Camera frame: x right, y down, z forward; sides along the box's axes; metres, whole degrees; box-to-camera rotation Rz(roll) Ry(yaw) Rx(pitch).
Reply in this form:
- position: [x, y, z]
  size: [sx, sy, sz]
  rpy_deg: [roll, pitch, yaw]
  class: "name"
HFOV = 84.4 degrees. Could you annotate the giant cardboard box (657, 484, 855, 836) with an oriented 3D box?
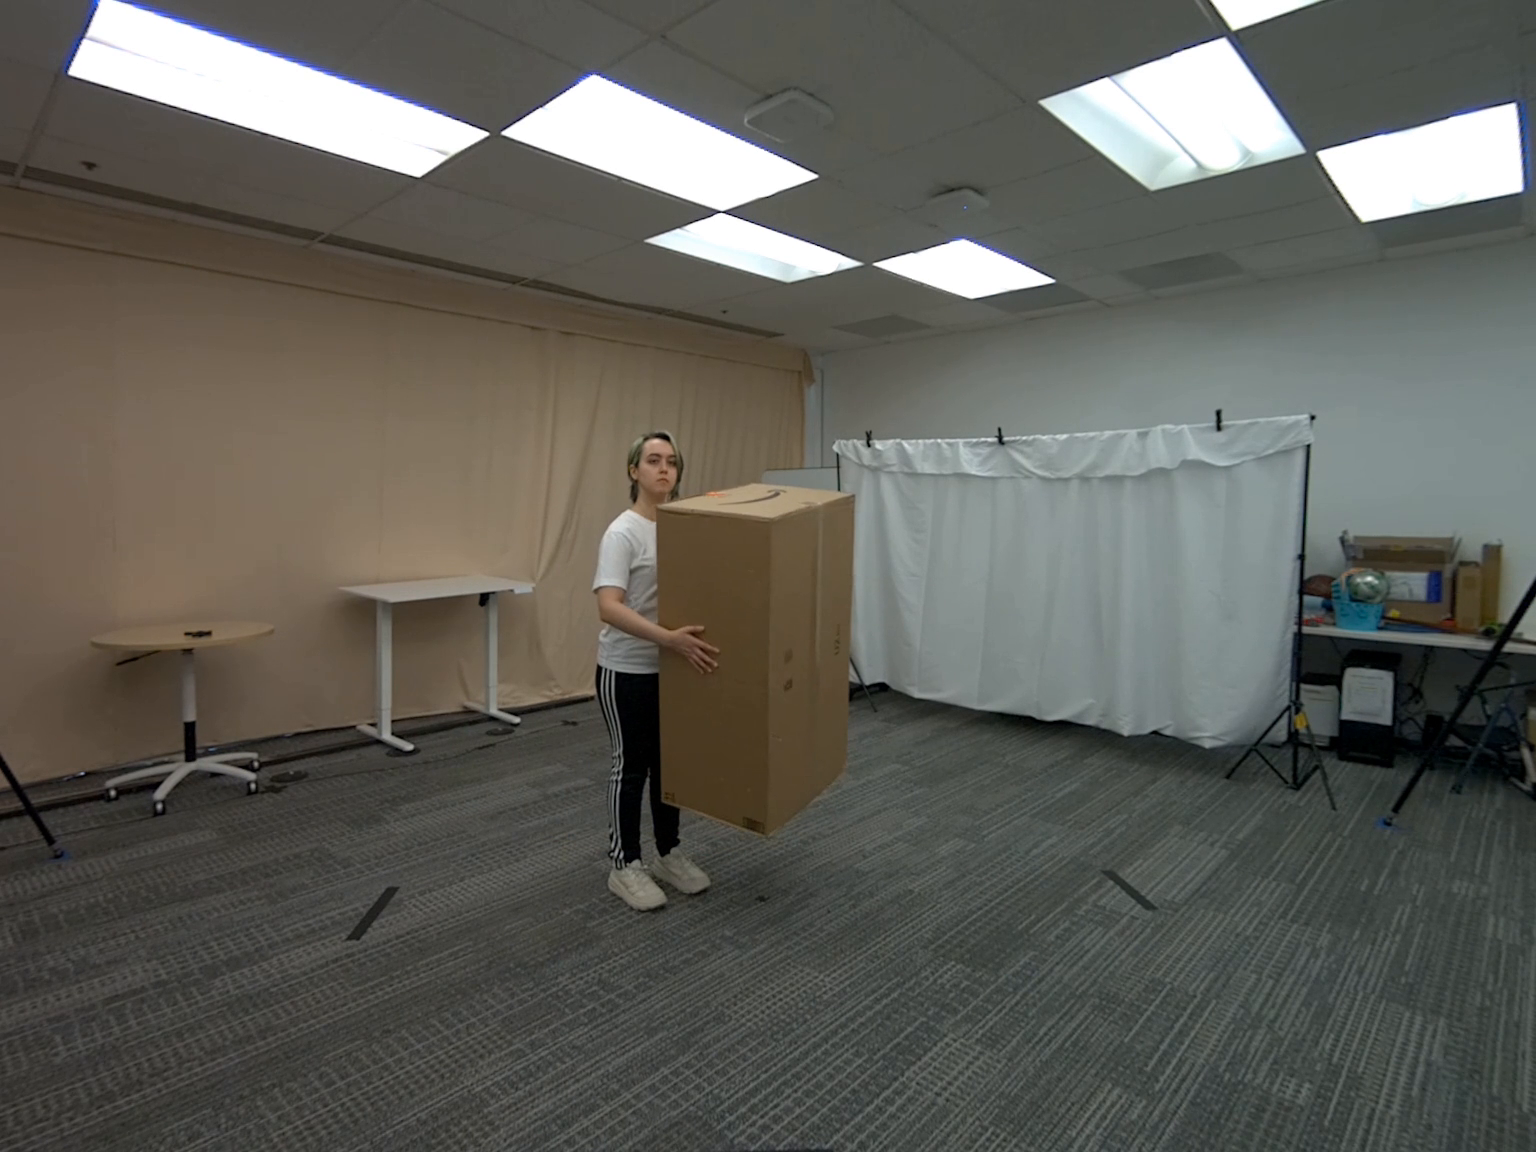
- position: [-0.031, 0.246, 2.852]
  size: [0.440, 1.018, 0.564]
  rpy_deg: [9, 15, 32]
  class: "giant cardboard box"
